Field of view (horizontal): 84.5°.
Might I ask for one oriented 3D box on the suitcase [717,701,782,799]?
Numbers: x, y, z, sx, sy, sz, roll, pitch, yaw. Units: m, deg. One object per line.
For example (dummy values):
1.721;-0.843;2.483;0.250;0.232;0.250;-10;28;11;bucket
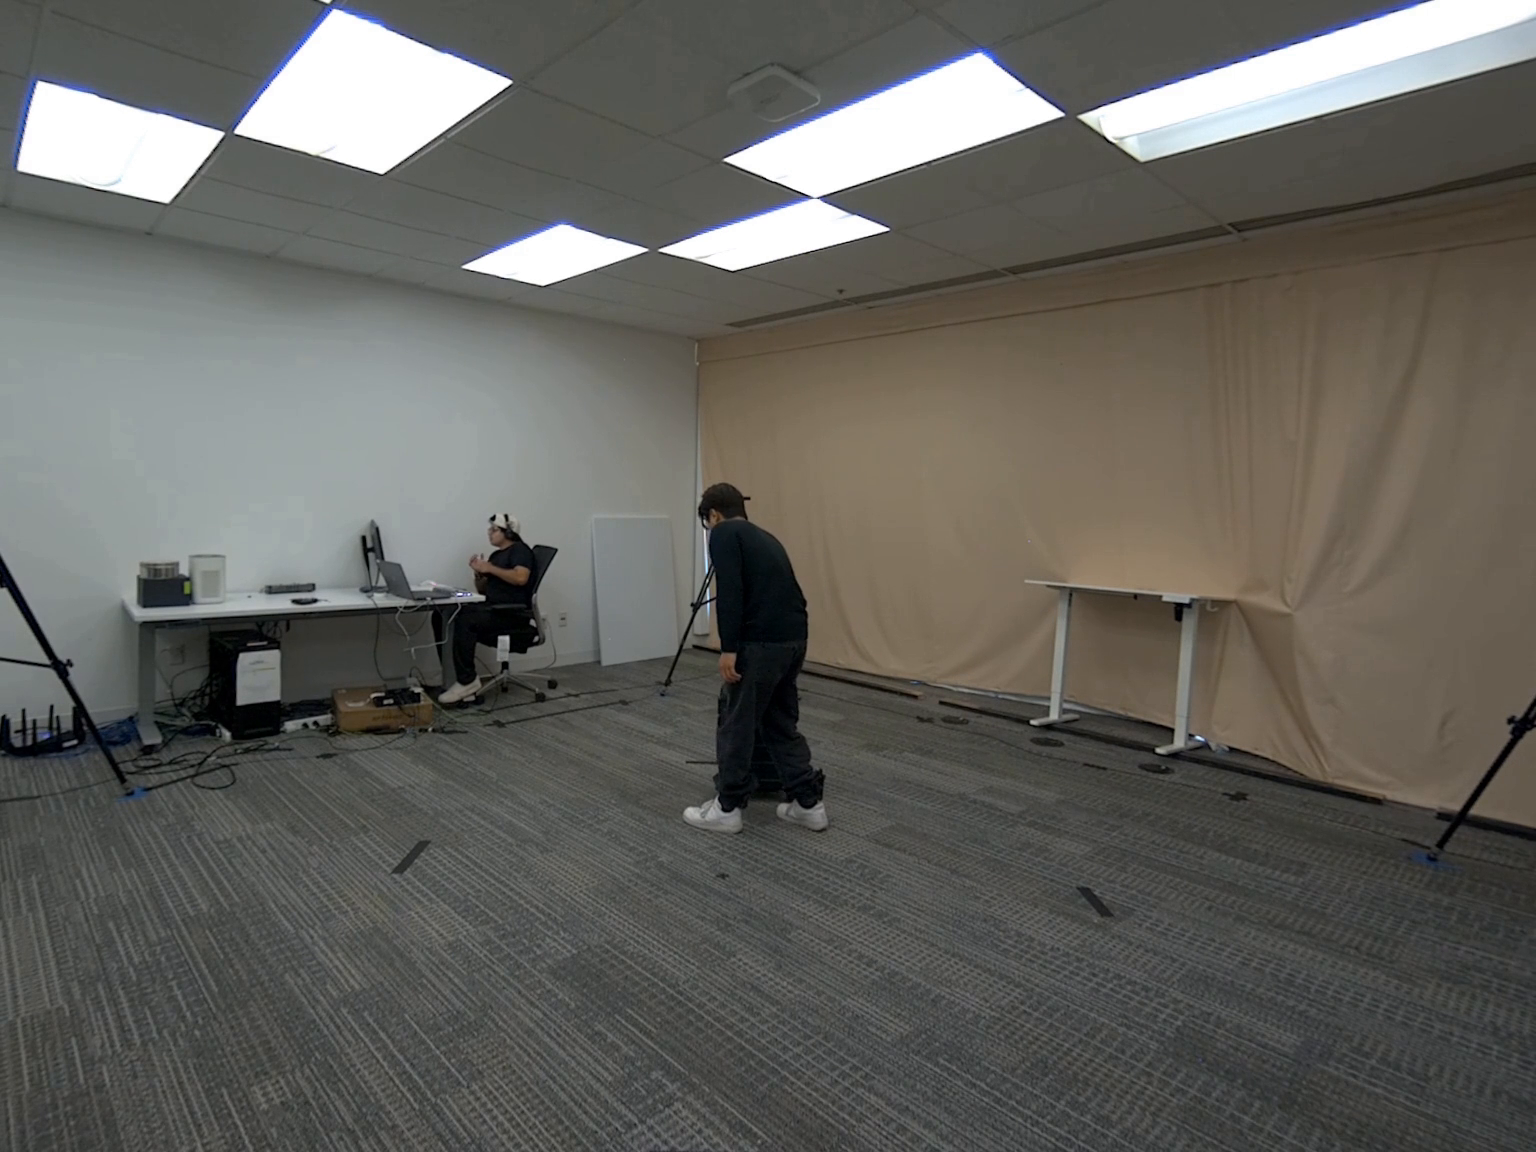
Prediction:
-0.057;0.758;3.988;0.375;0.548;0.249;0;2;-1;suitcase
